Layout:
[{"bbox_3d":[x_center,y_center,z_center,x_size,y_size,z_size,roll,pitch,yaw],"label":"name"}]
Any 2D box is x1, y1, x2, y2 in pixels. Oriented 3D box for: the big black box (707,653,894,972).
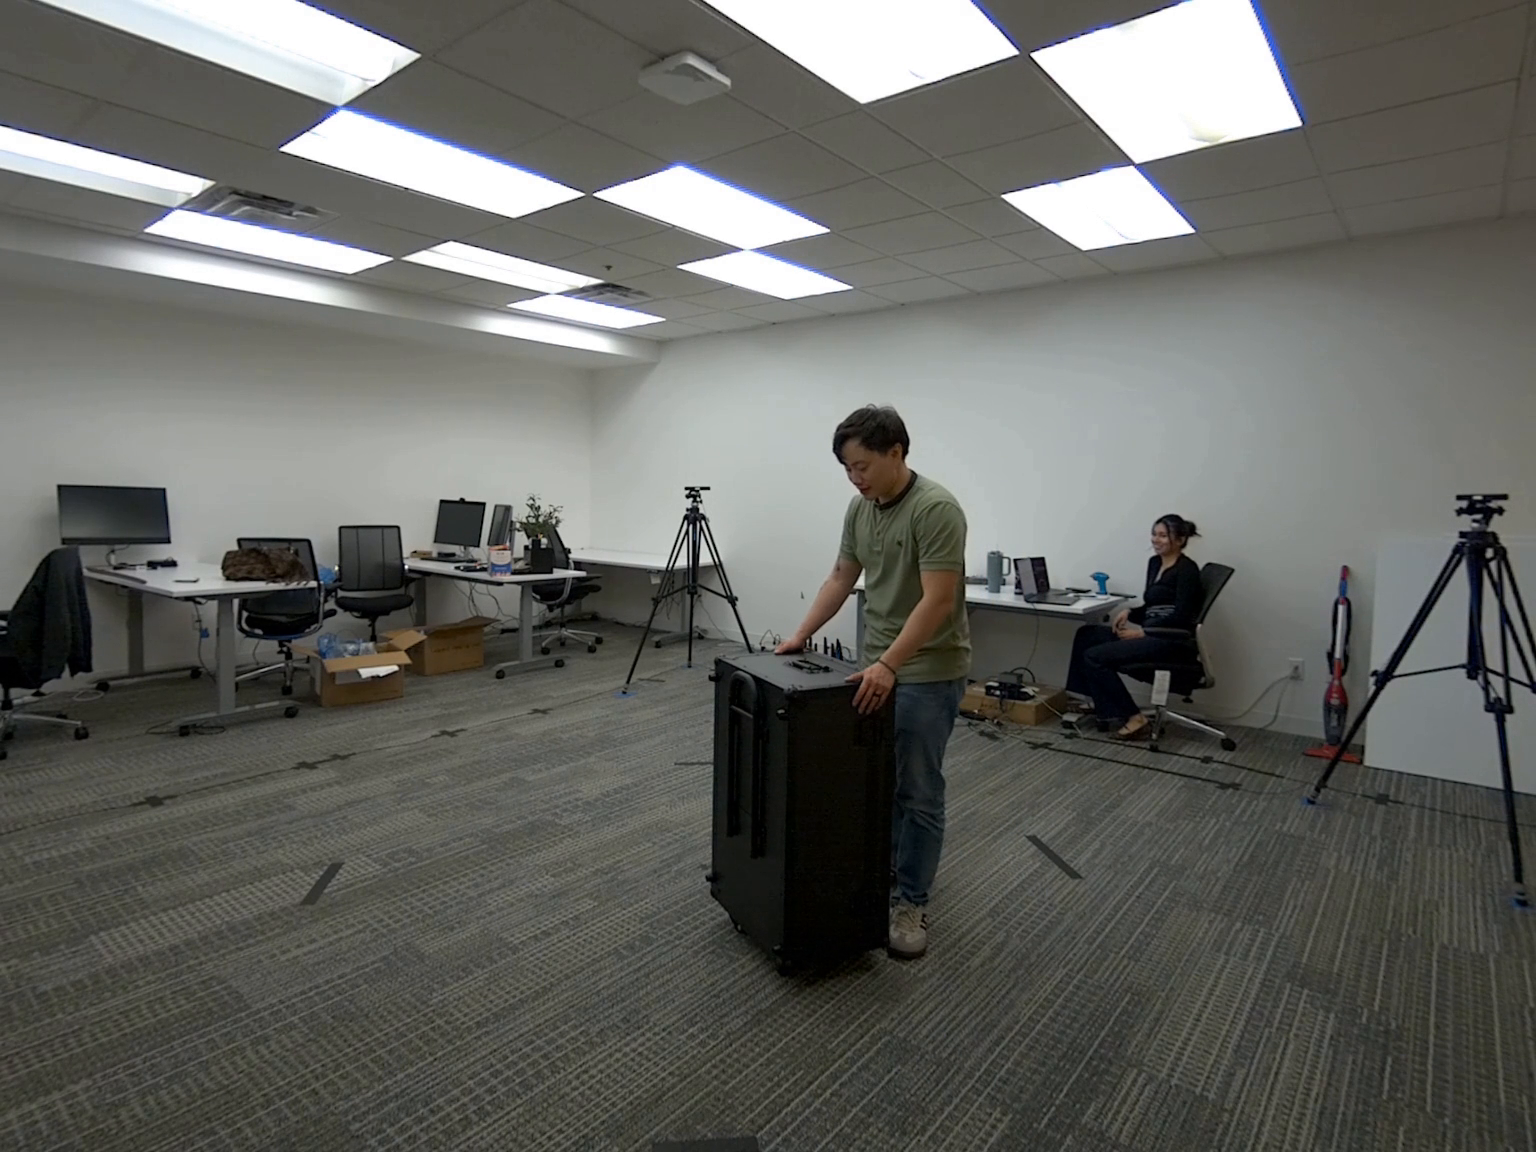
[{"bbox_3d":[0.080,0.698,2.576,0.386,0.858,0.537,-2,5,-28],"label":"big black box"}]
